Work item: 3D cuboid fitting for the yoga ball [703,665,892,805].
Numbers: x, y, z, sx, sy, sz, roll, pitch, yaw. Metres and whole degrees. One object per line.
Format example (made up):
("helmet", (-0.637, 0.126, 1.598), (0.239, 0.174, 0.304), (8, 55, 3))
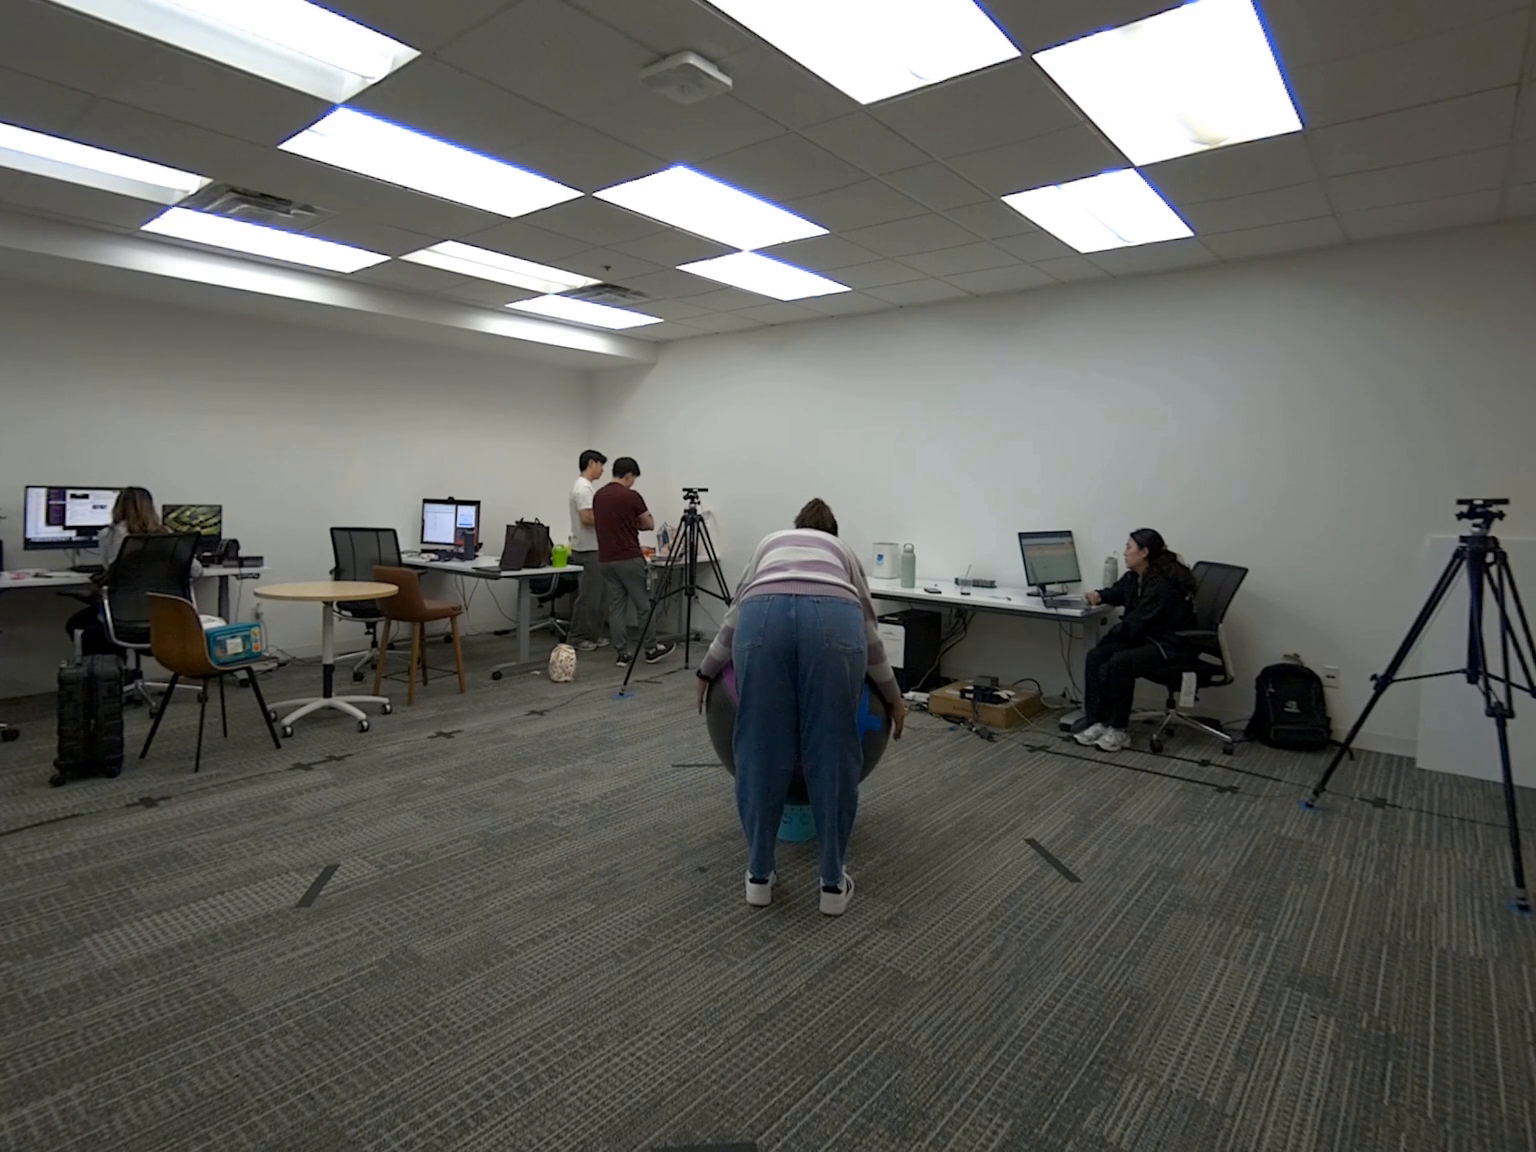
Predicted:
("yoga ball", (0.127, 0.530, 3.454), (0.757, 0.756, 0.761), (1, 4, -2))
